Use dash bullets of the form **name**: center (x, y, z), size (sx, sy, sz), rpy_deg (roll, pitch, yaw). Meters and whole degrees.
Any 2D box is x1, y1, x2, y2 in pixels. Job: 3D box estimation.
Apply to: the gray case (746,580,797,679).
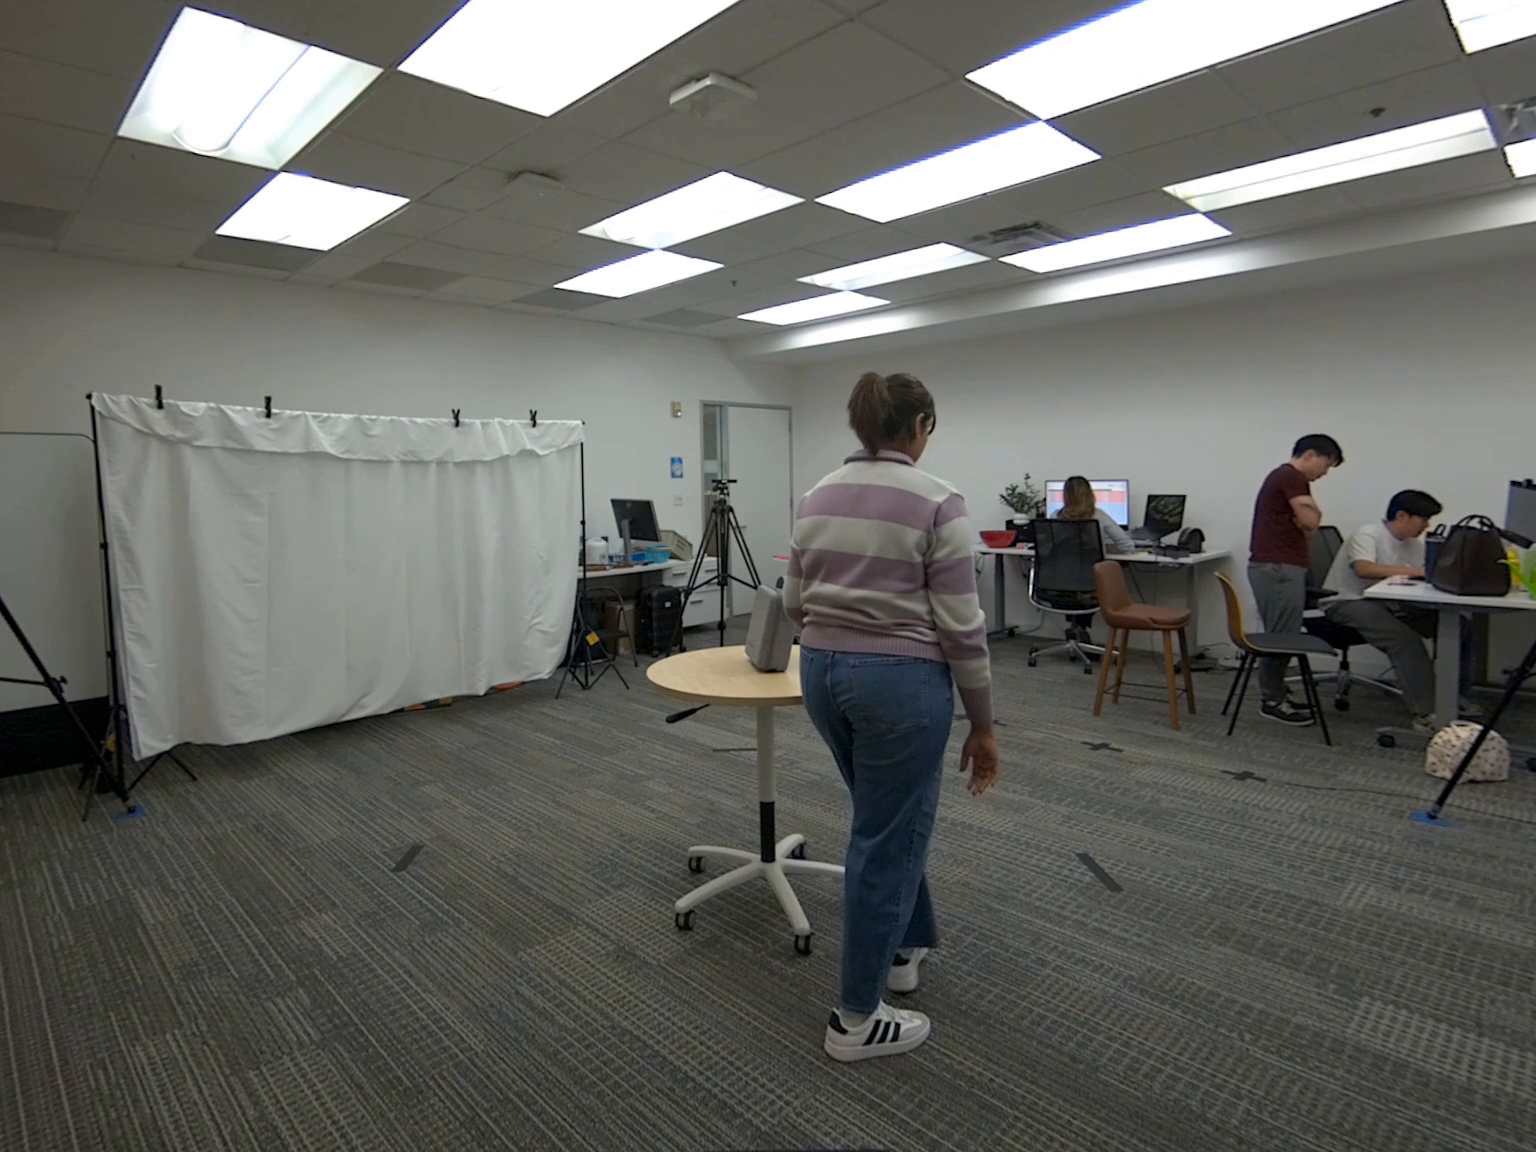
- **gray case**: center (0.015, 0.168, 2.808), size (0.103, 0.260, 0.260), rpy_deg (9, 5, -9)
